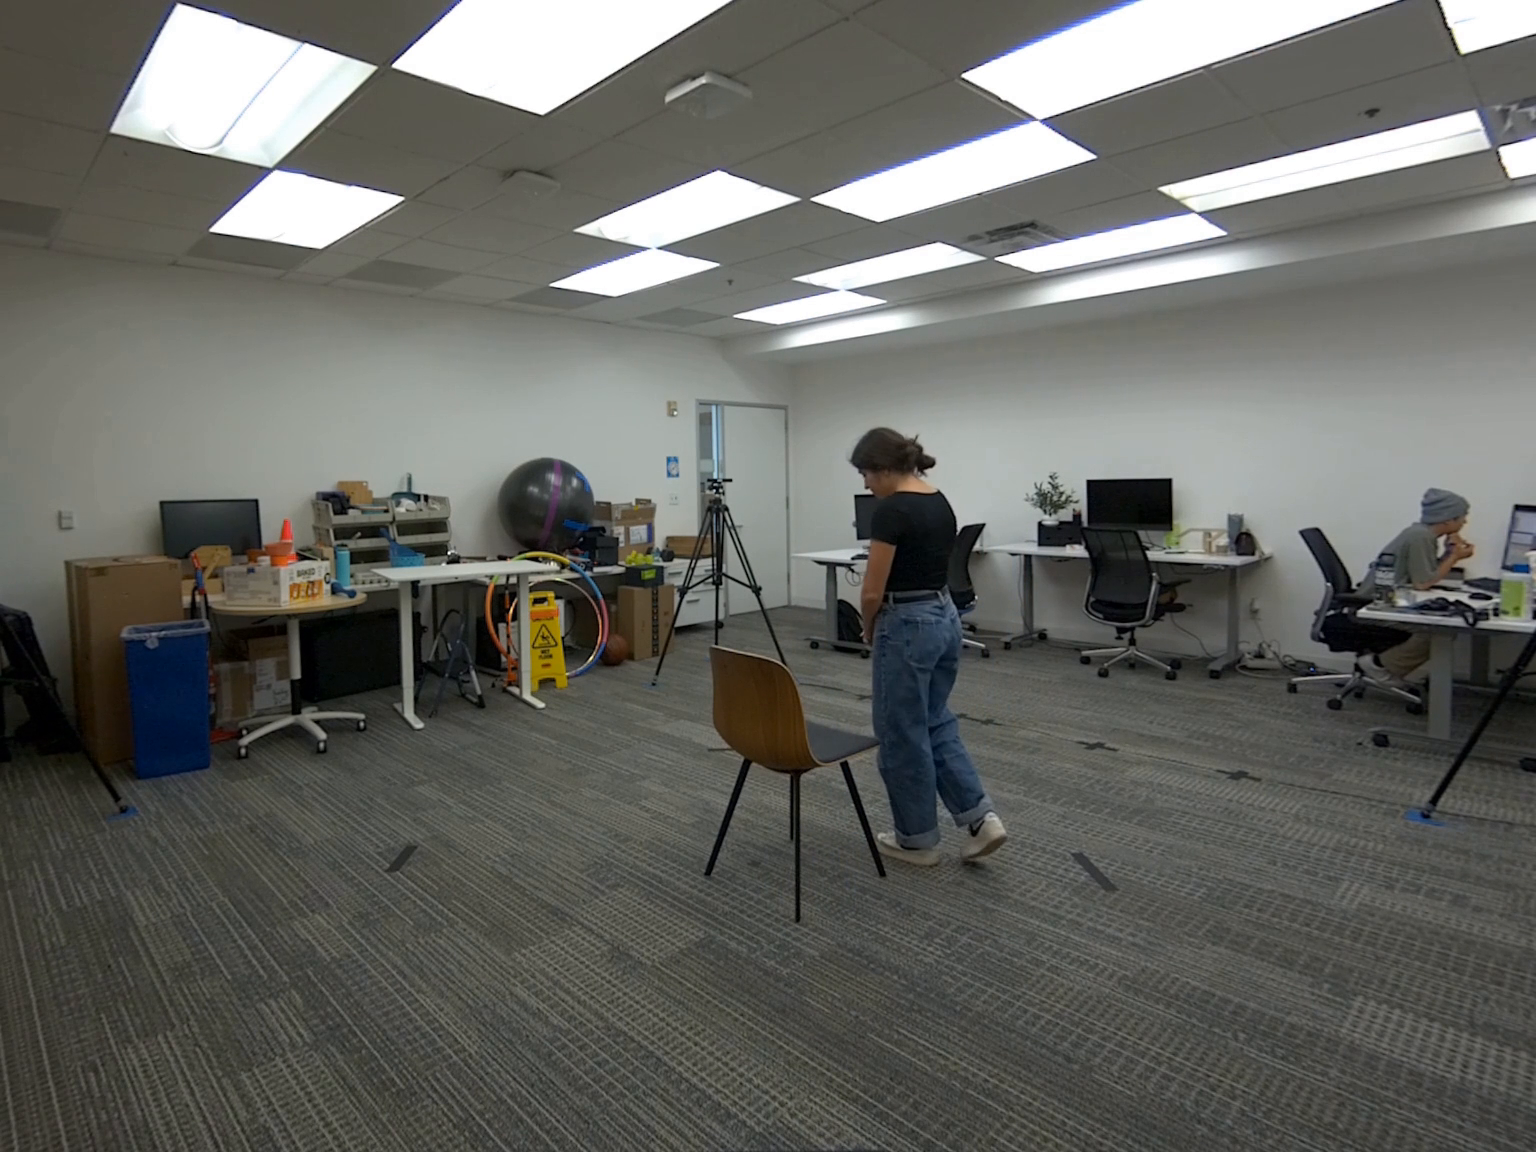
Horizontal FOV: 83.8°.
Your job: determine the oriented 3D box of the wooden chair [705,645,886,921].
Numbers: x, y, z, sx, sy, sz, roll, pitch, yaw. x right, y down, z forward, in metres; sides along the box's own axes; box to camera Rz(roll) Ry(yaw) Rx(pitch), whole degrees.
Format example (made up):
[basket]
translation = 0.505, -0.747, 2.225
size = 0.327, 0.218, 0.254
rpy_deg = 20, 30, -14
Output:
[wooden chair]
translation = 0.093, 0.632, 2.970
size = 0.511, 0.871, 0.493
rpy_deg = -11, 10, -43
